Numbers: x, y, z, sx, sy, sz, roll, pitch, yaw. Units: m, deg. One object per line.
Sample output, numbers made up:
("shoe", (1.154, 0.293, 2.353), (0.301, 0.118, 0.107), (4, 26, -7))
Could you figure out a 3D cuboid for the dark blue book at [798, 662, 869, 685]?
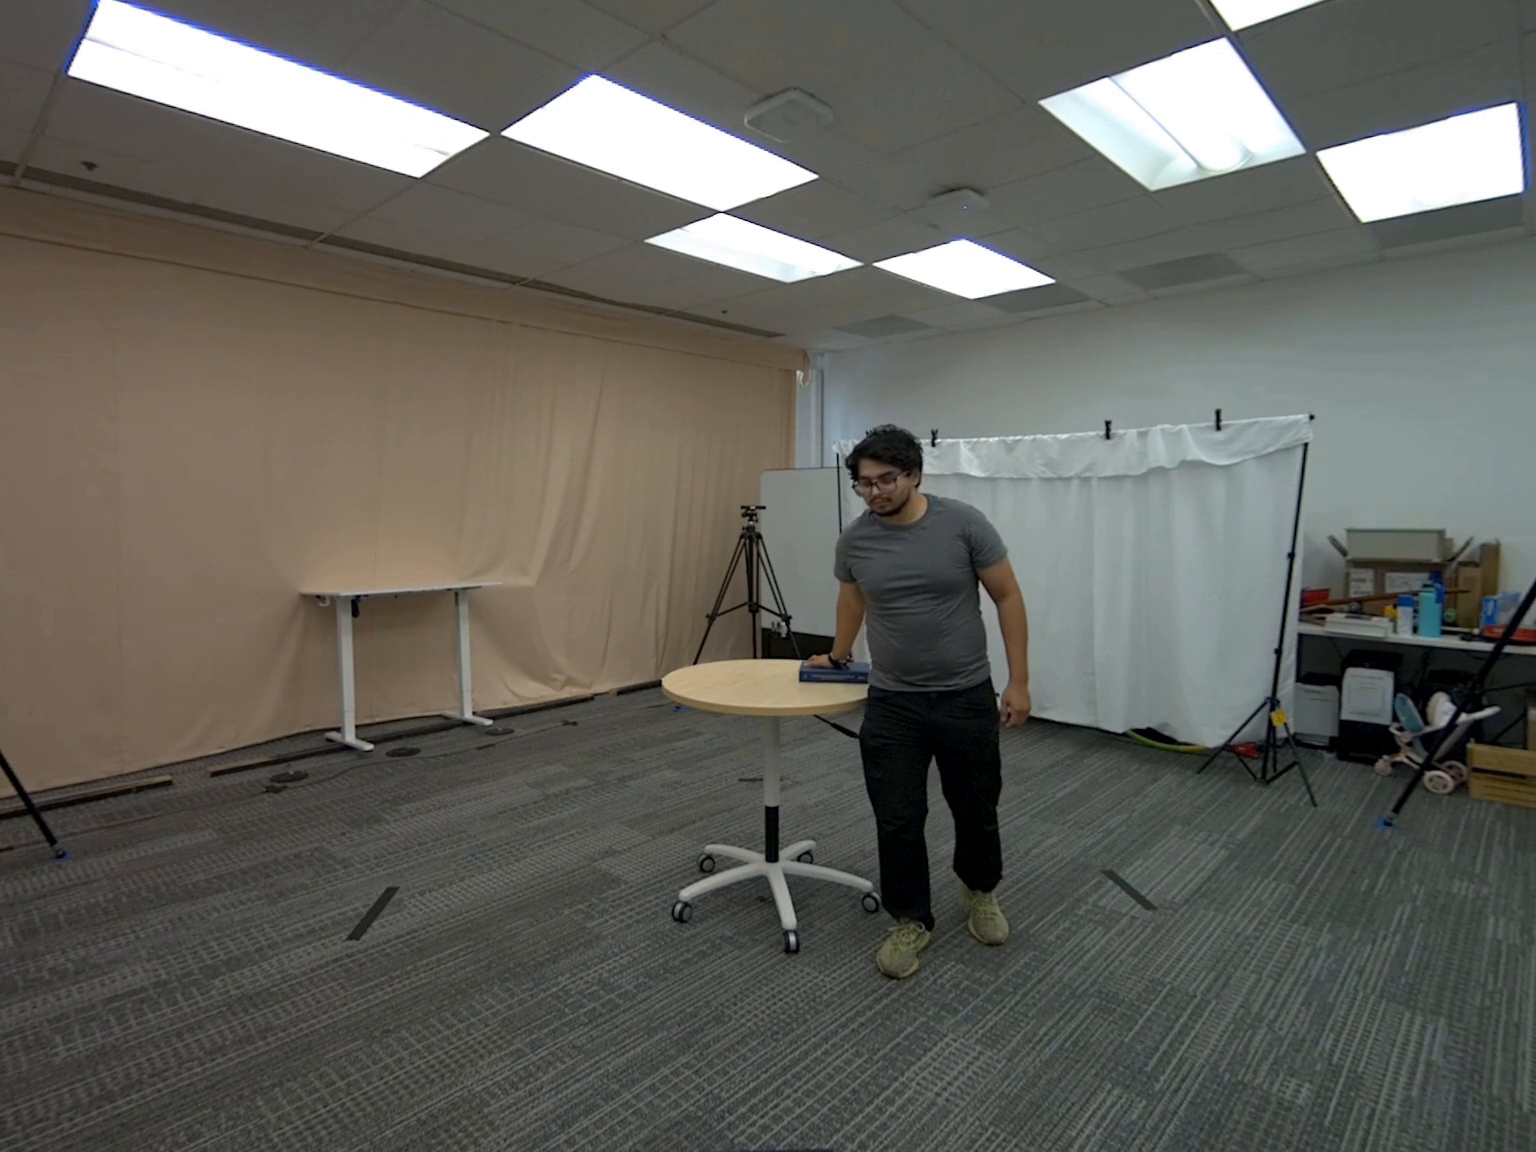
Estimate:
("dark blue book", (0.237, 0.344, 2.959), (0.247, 0.045, 0.162), (0, 5, 7))
